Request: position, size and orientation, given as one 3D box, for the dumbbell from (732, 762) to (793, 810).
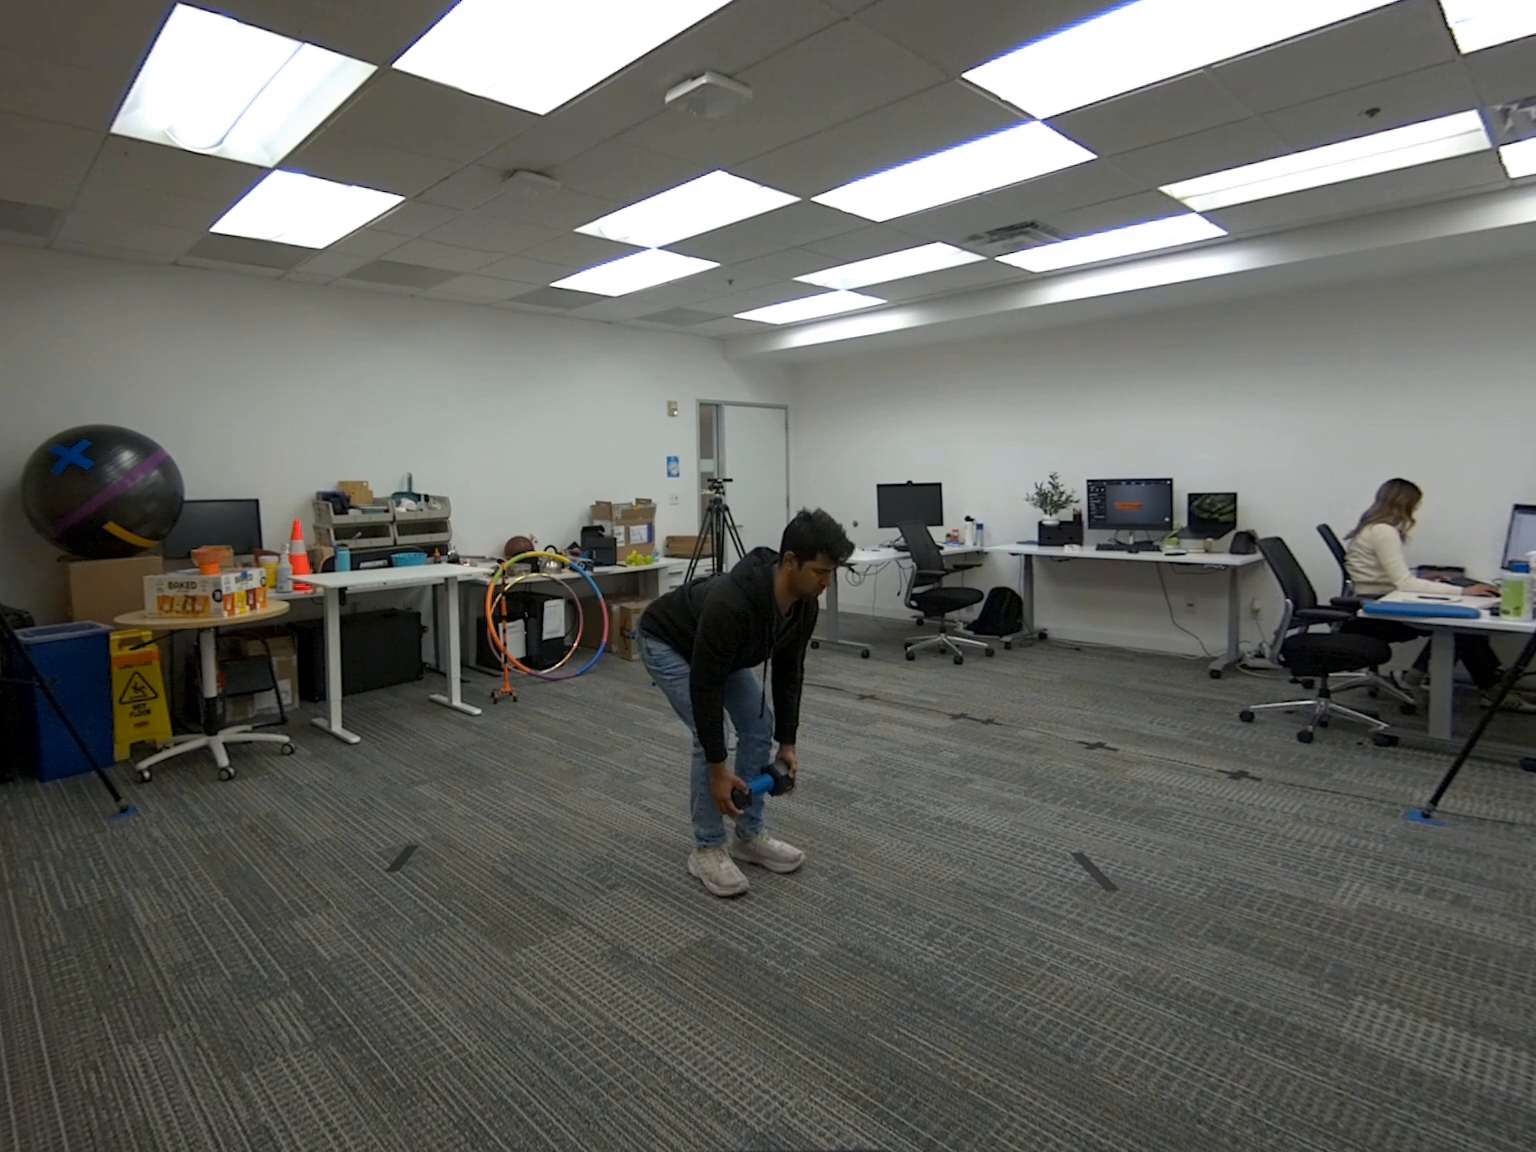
[{"bbox_3d":[-0.047,0.727,2.970,0.286,0.110,0.124,-10,-17,-43],"label":"dumbbell"}]
